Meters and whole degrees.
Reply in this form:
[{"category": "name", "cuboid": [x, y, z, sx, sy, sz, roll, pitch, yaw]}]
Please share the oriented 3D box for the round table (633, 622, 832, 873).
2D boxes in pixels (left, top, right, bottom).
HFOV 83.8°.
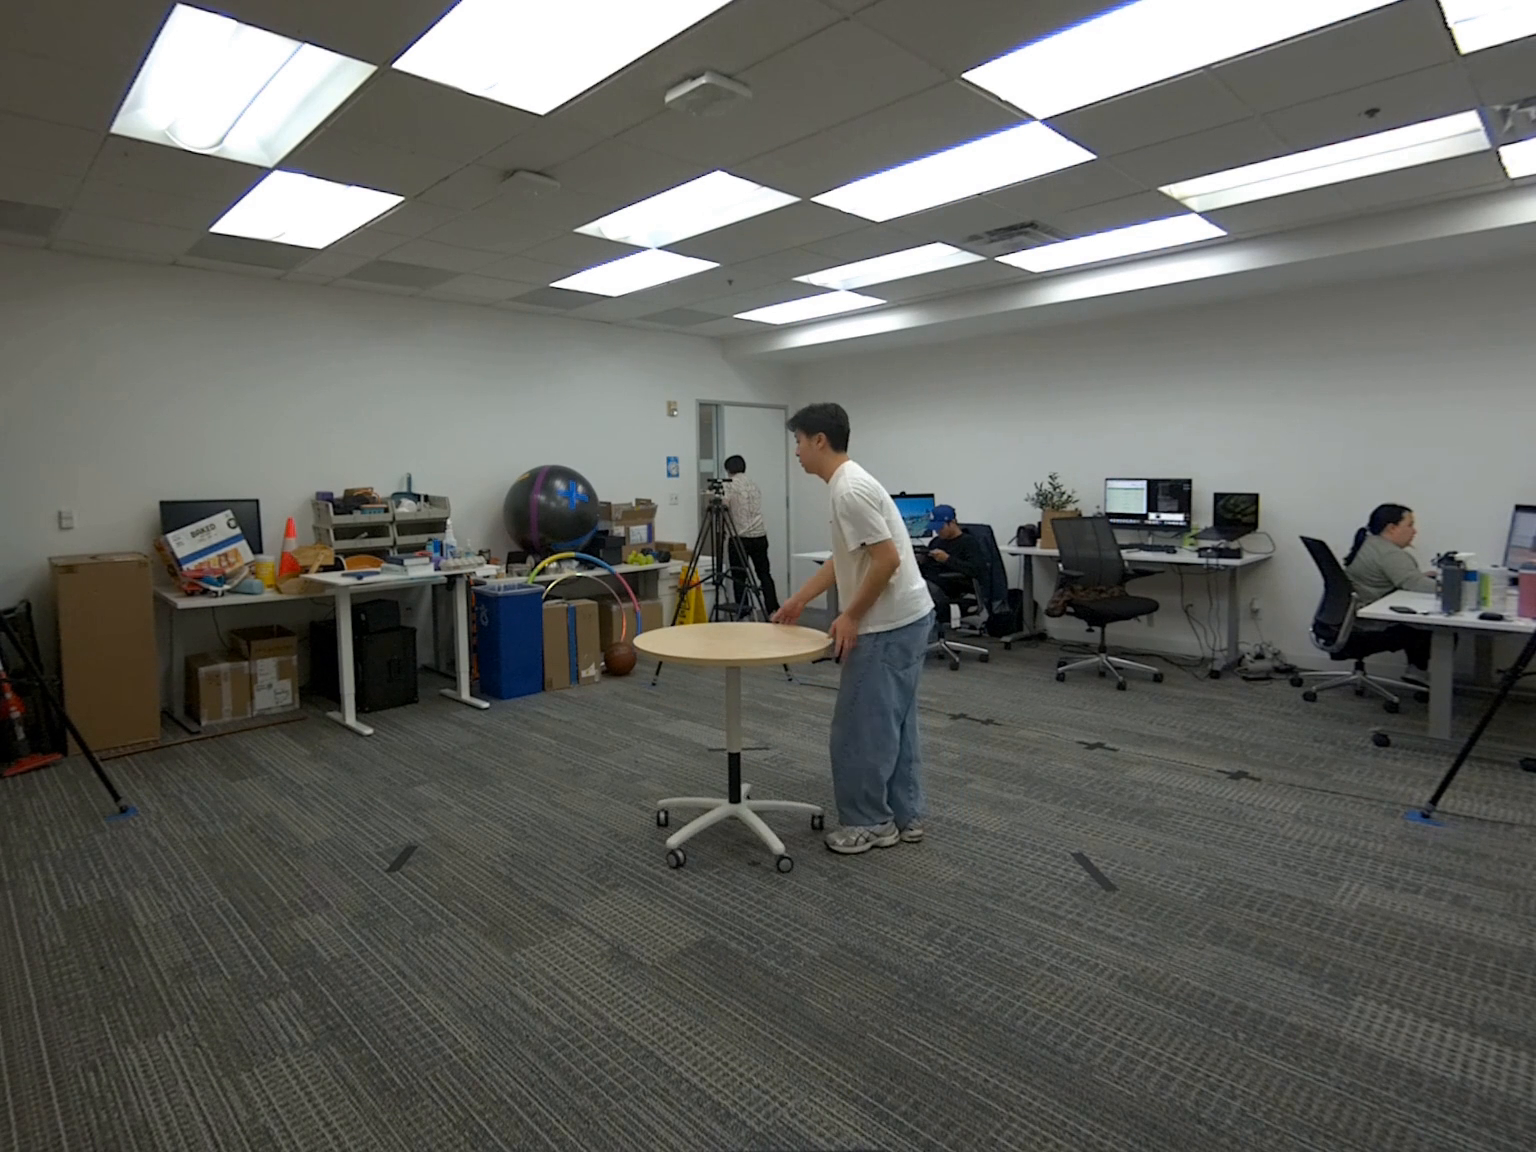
[{"category": "round table", "cuboid": [-0.114, 0.627, 3.313, 0.784, 0.784, 0.789, -1, 5, -2]}]
